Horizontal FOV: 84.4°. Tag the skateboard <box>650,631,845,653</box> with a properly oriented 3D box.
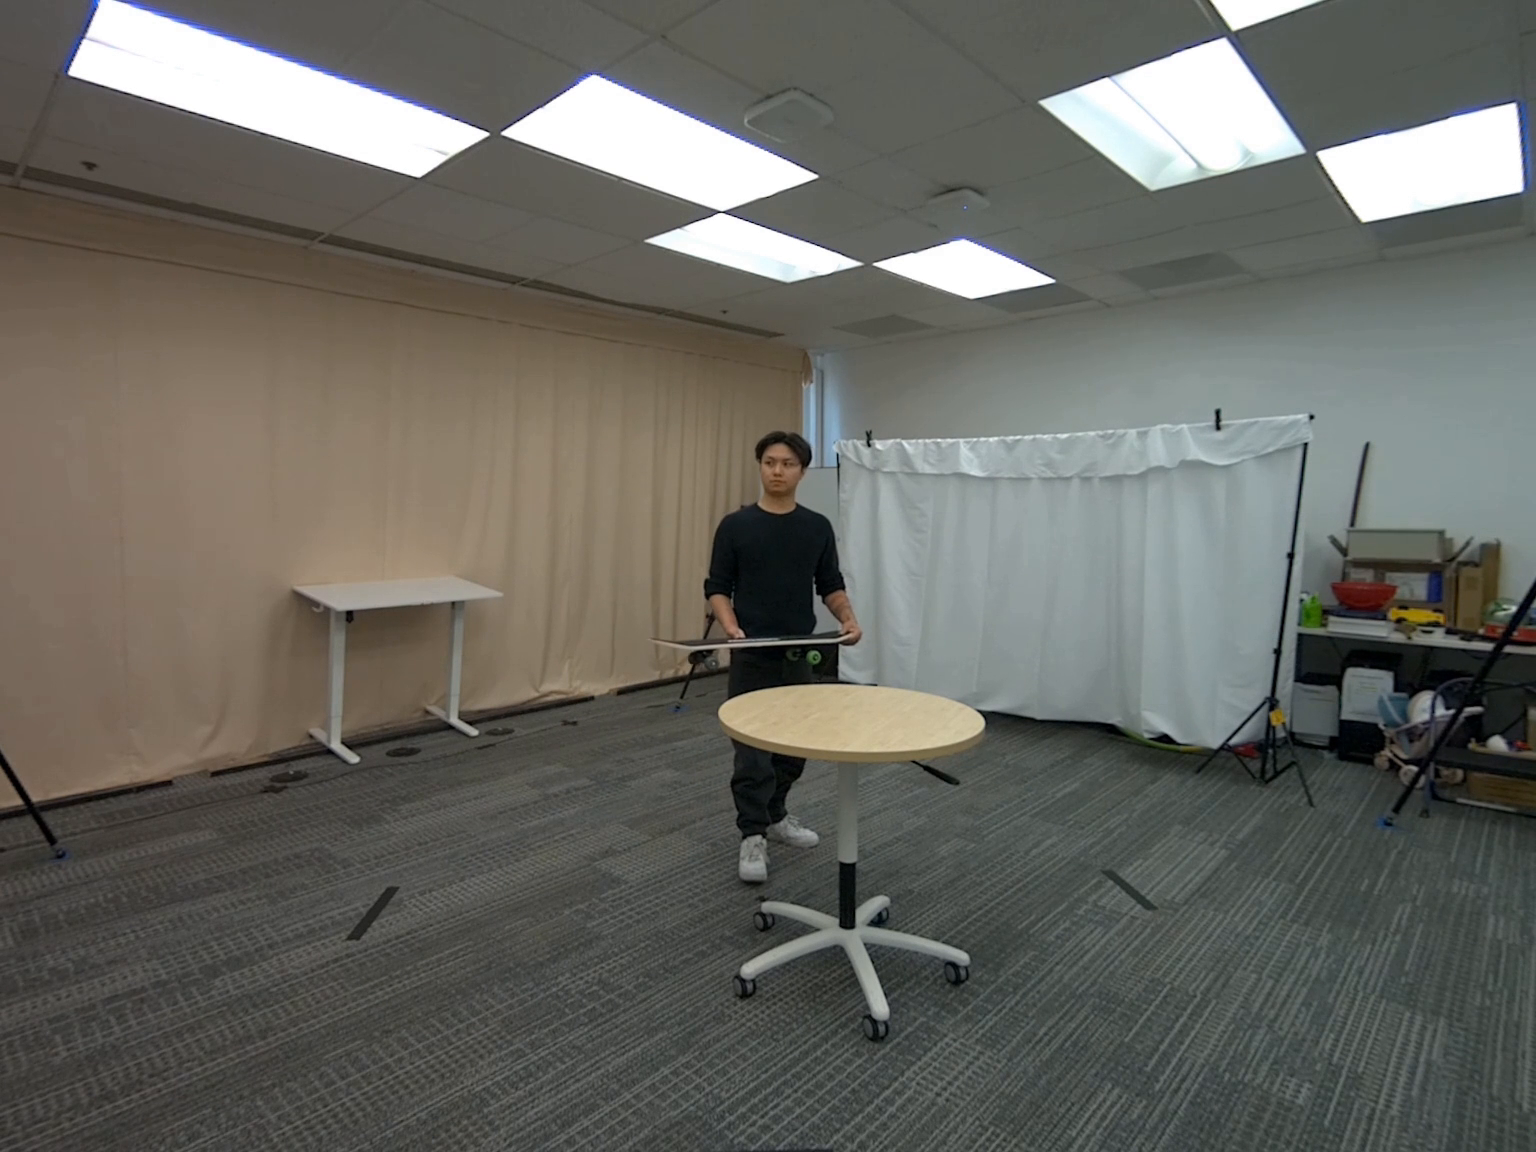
[{"bbox_3d":[-0.059,0.273,3.022,0.768,0.110,0.198,0,0,-22],"label":"skateboard"}]
